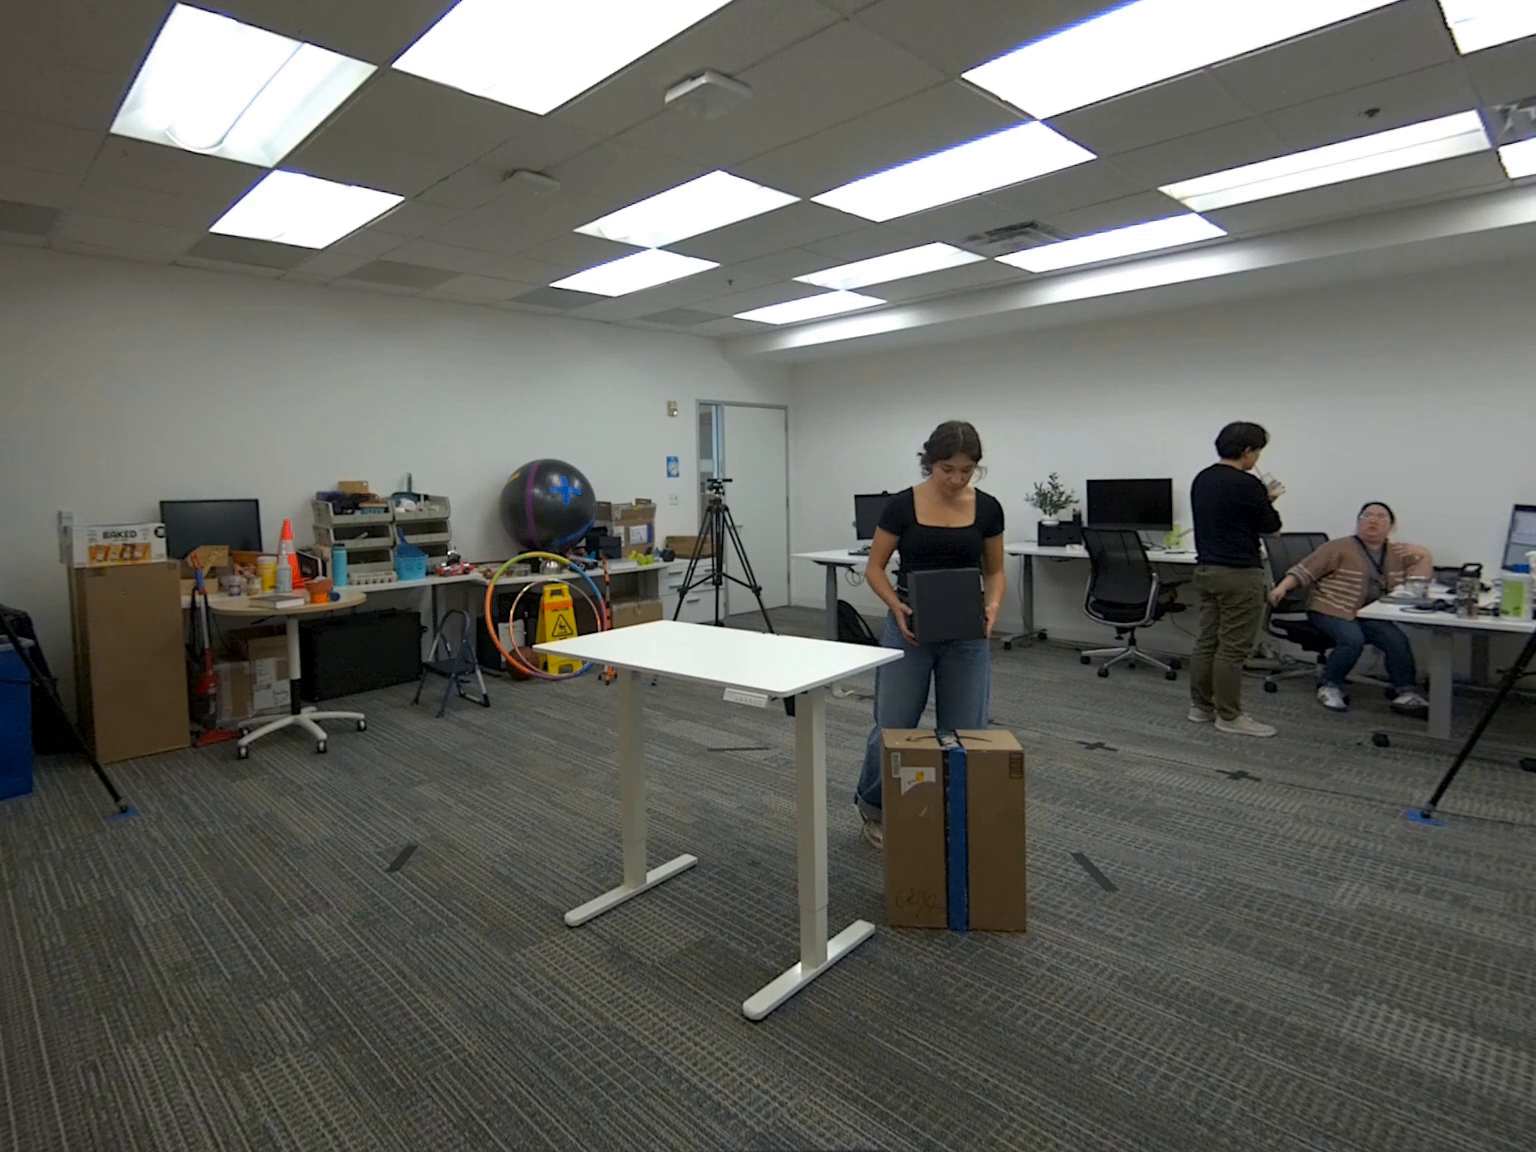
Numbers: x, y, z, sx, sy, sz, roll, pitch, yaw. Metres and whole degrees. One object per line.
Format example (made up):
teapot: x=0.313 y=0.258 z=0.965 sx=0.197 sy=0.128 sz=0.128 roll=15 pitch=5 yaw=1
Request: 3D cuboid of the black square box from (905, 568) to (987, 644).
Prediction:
black square box: x=0.584 y=0.091 z=2.816 sx=0.218 sy=0.228 sz=0.155 roll=-3 pitch=1 yaw=3
